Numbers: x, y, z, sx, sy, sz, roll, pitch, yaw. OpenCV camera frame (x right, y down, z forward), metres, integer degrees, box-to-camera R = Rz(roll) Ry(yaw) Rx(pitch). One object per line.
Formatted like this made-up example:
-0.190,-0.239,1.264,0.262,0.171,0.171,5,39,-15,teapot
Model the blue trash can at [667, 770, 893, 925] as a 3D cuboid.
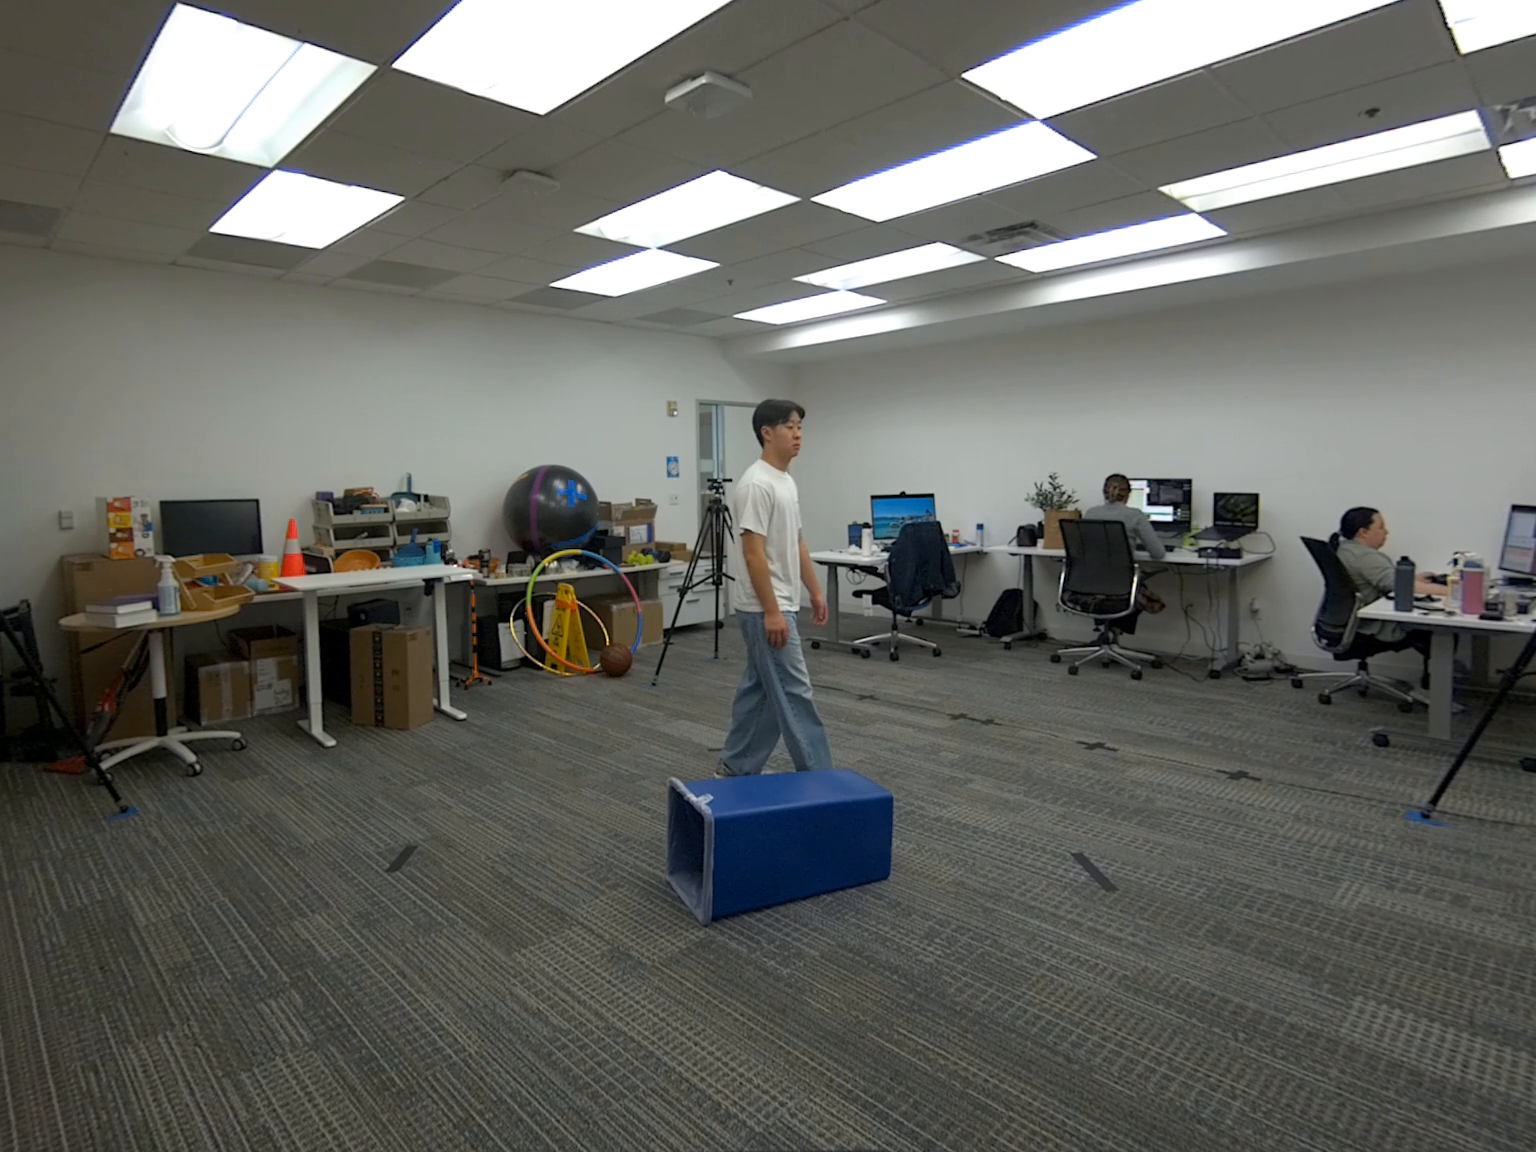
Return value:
0.043,0.897,2.962,0.698,0.377,0.383,-1,4,-25,blue trash can
